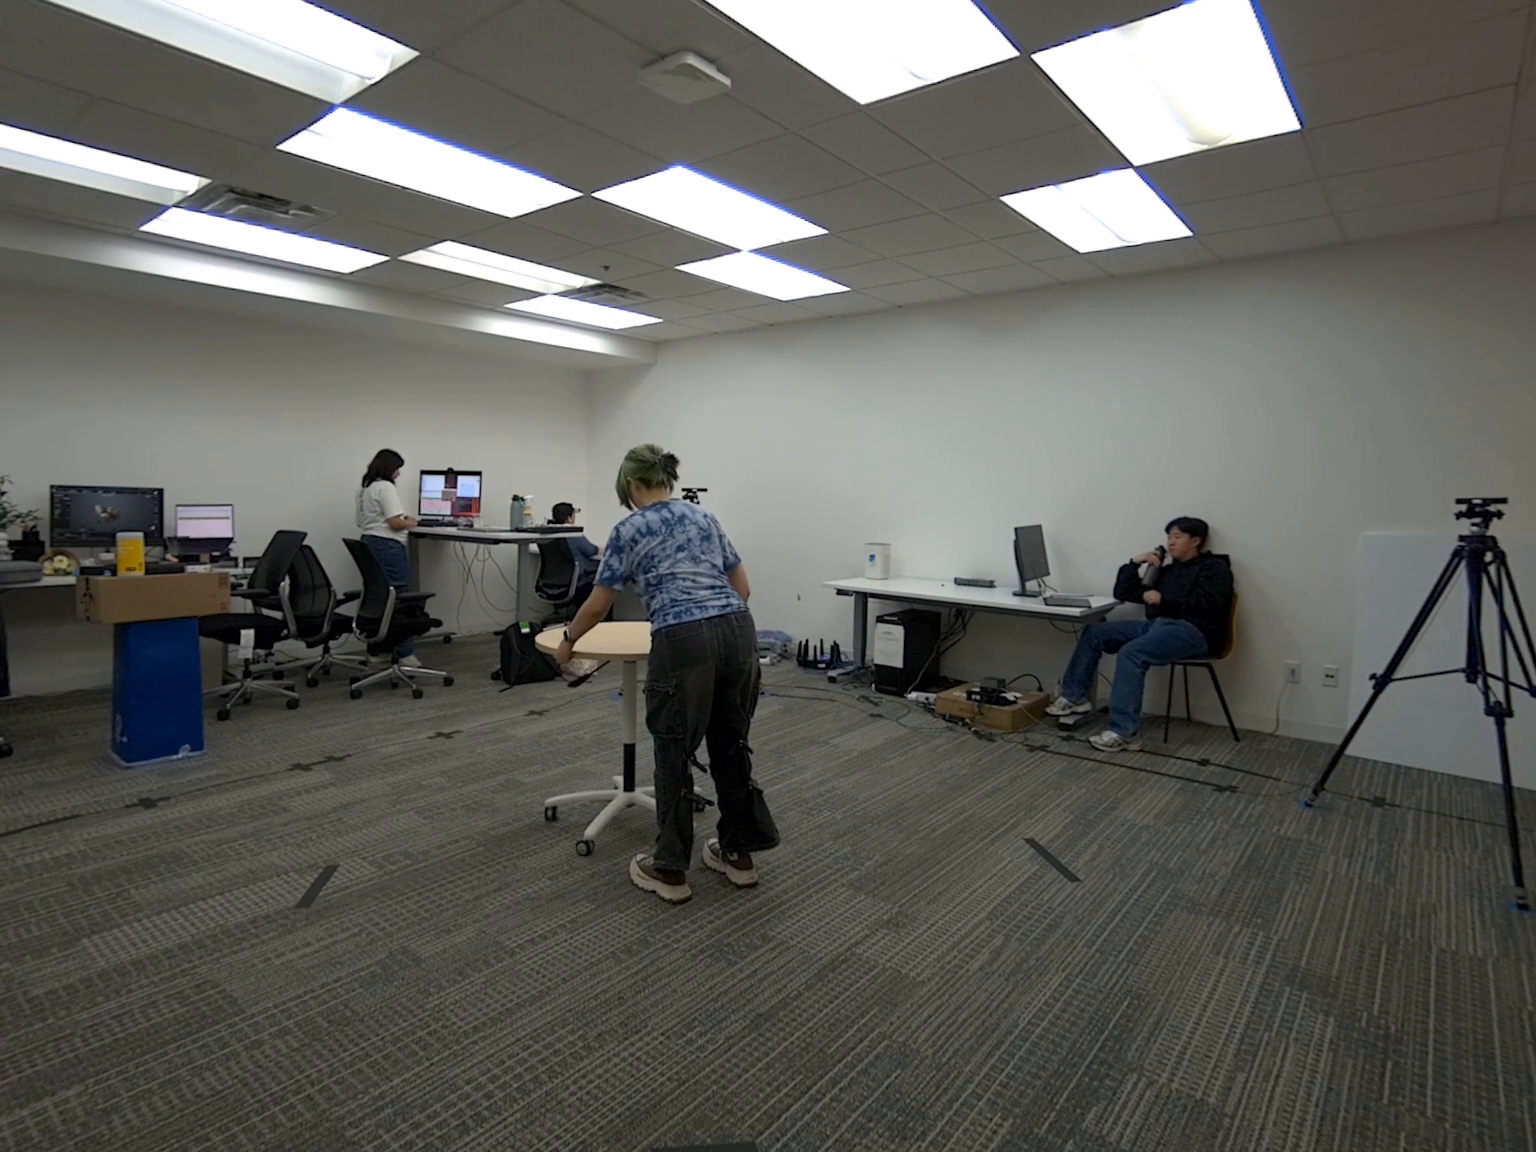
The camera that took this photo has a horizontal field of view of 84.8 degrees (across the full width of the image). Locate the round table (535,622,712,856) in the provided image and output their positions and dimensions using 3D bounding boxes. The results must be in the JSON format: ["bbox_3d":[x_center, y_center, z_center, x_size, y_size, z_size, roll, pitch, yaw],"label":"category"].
[{"bbox_3d":[-0.592,0.638,3.504,0.763,0.791,0.768,0,4,-2],"label":"round table"}]
